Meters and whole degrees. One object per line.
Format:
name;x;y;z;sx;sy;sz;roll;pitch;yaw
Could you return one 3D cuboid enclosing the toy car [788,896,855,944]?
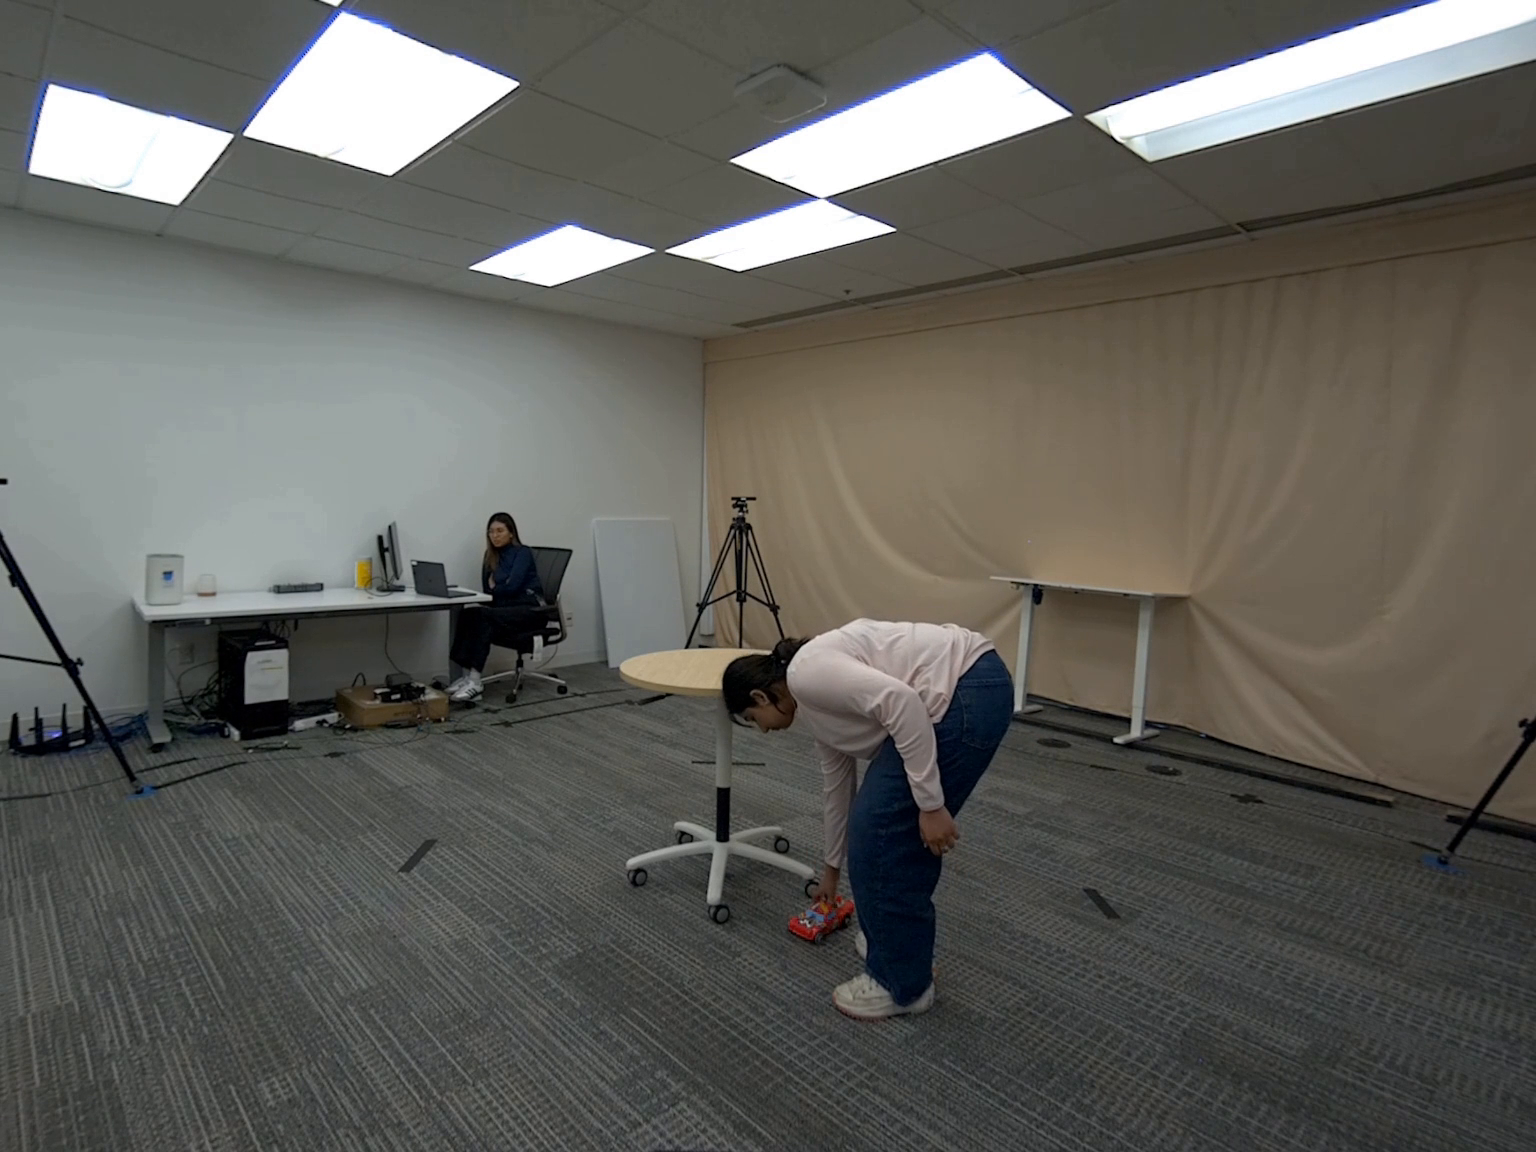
toy car;0.177;1.115;2.736;0.134;0.082;0.250;6;17;43
